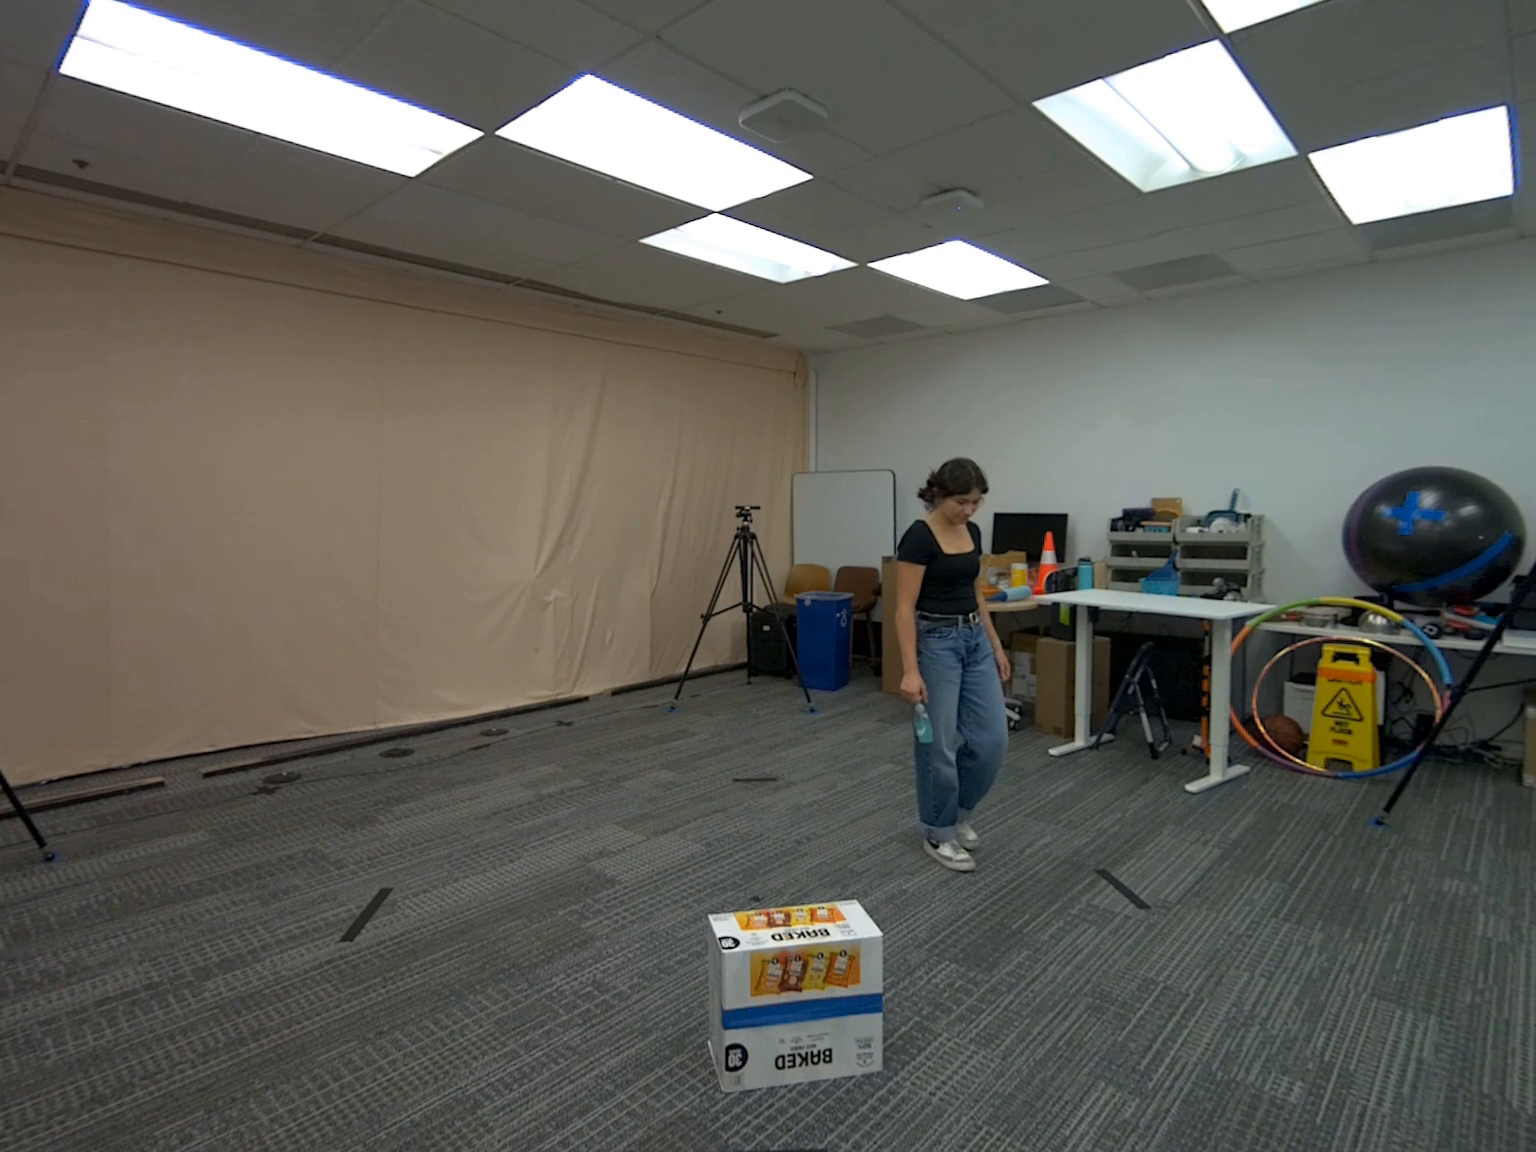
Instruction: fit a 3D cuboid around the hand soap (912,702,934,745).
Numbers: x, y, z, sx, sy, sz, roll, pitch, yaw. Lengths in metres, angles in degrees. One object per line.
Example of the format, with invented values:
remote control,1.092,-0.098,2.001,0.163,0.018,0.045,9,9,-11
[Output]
hand soap,0.567,0.520,3.074,0.042,0.169,0.086,-3,-5,-20
